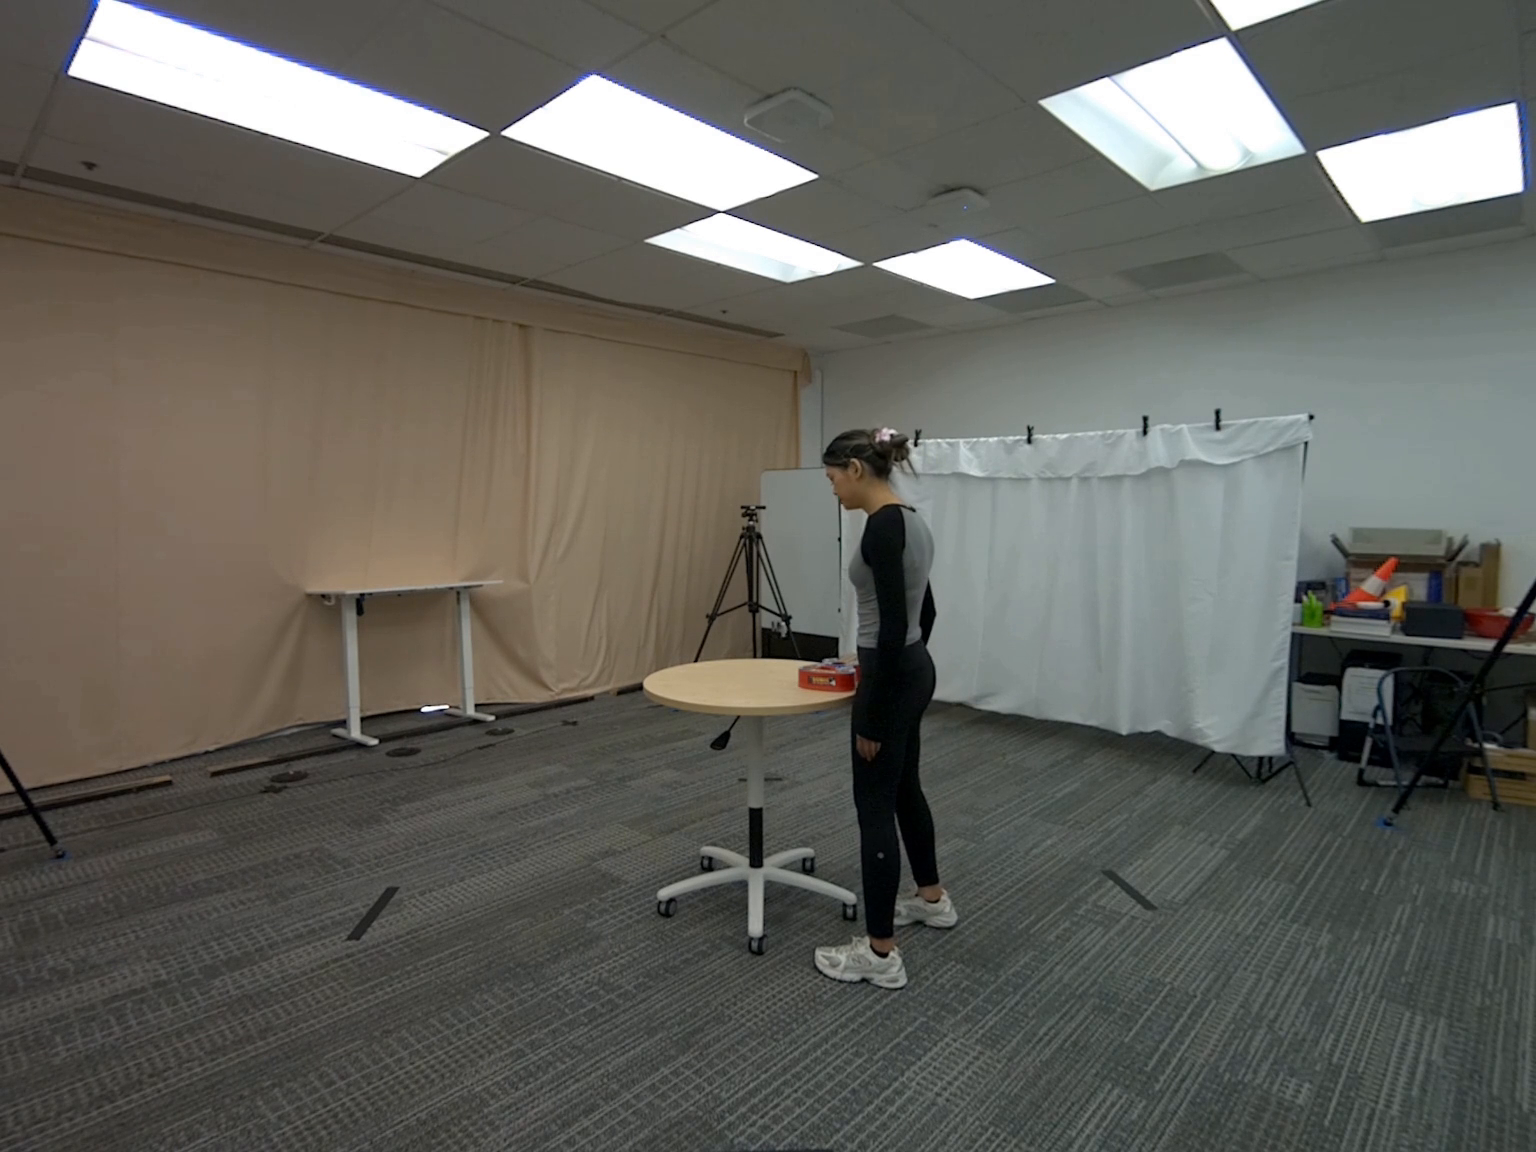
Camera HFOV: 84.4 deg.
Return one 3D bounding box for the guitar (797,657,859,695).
[{"bbox_3d":[0.306,0.321,2.914,0.199,0.070,0.484,3,6,35],"label":"guitar"}]
